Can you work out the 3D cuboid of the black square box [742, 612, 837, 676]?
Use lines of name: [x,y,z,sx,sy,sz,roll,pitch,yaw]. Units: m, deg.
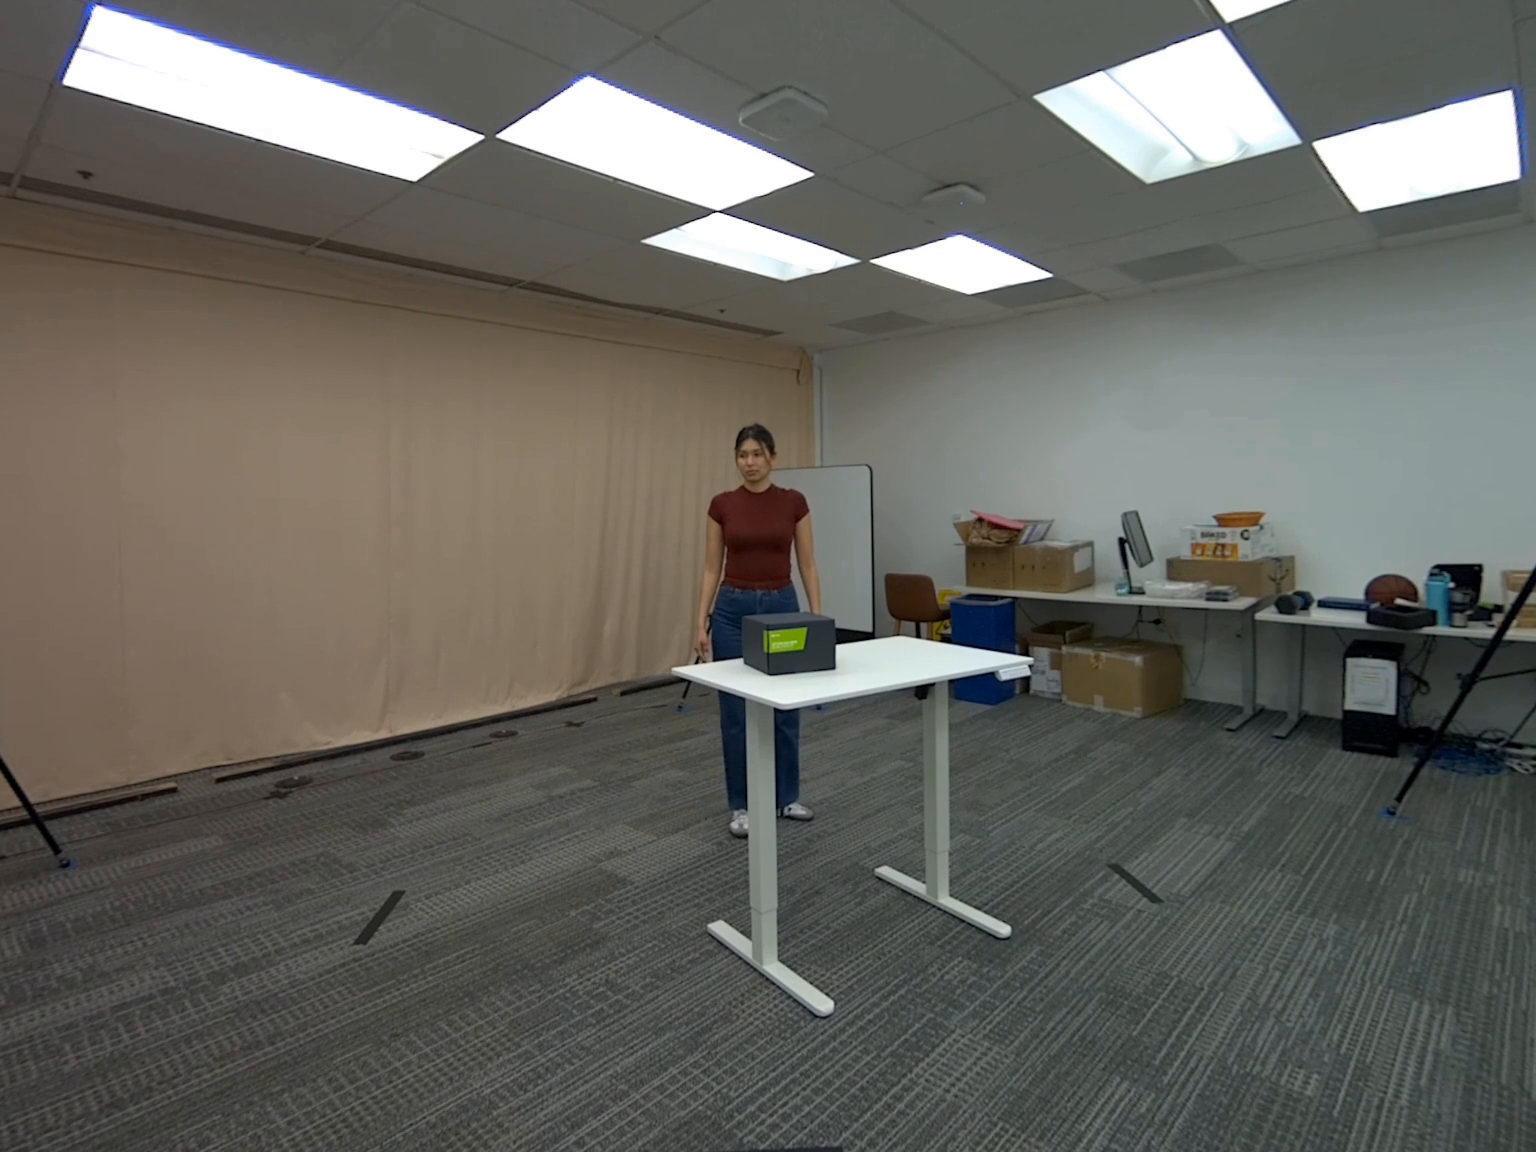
black square box: [0.065,0.206,2.643,0.224,0.155,0.222,-3,5,-19]
